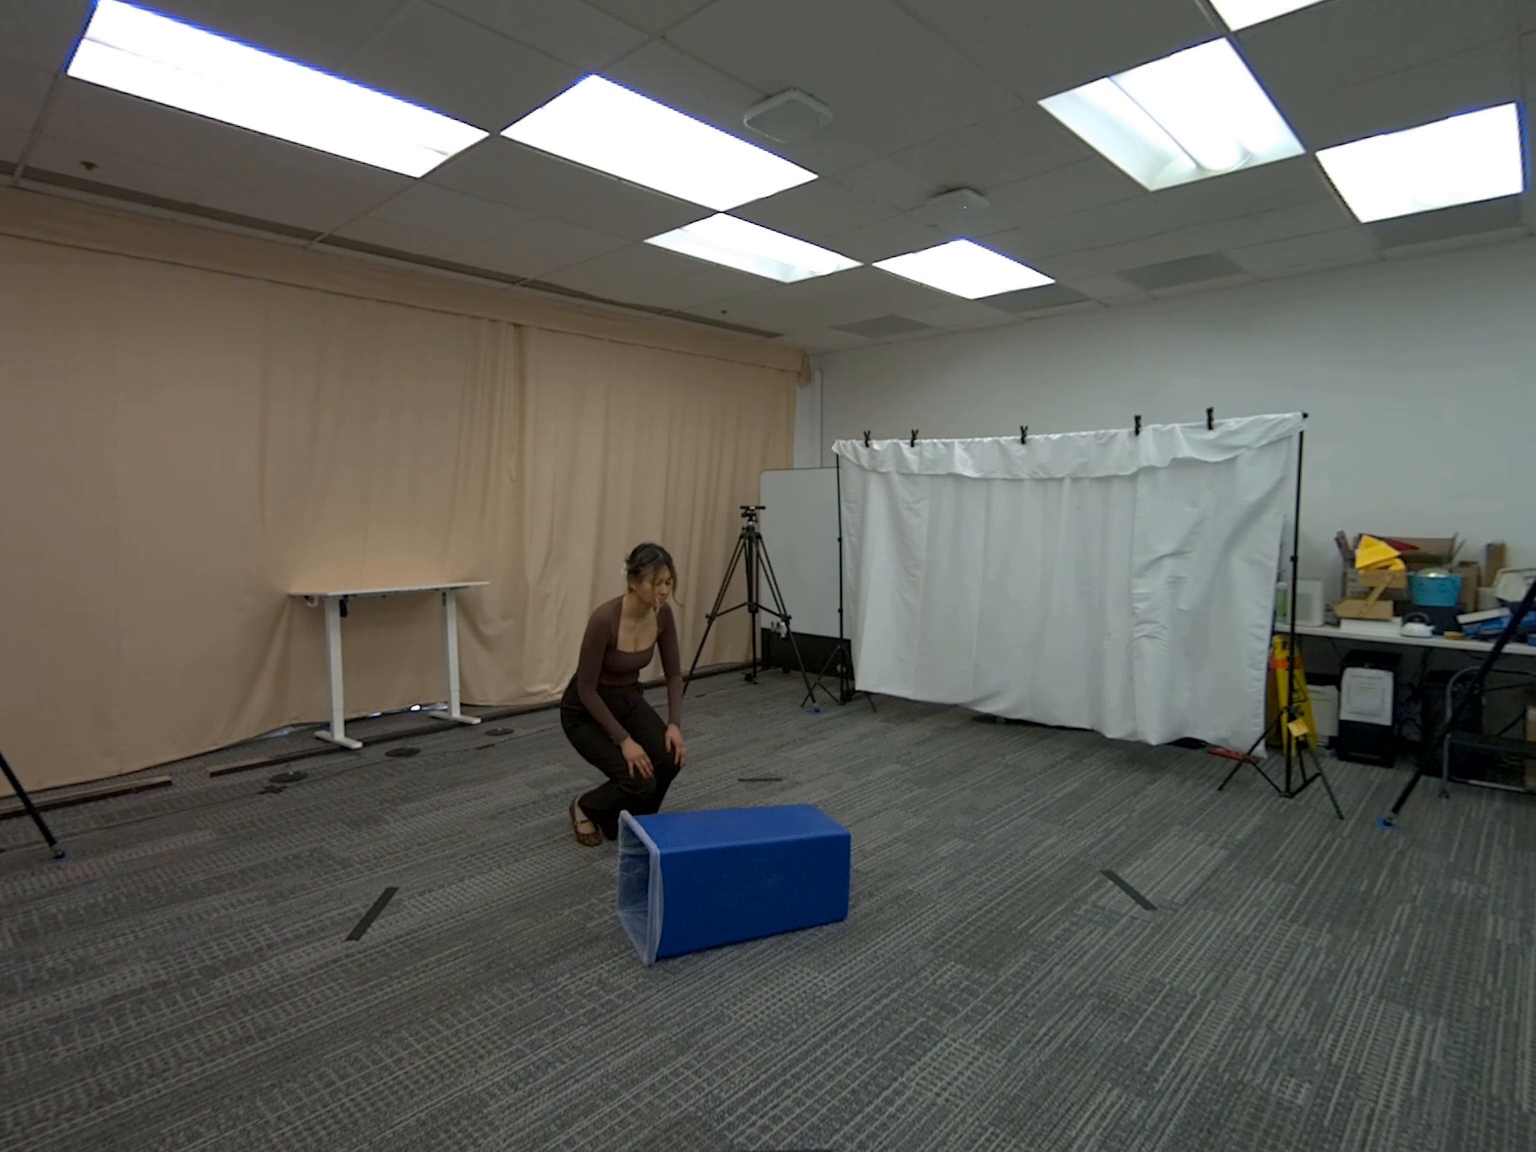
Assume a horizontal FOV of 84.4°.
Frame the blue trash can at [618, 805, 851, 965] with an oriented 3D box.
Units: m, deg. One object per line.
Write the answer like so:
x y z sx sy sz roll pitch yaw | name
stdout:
-0.103 0.987 2.814 0.698 0.378 0.383 0 2 -22 | blue trash can
